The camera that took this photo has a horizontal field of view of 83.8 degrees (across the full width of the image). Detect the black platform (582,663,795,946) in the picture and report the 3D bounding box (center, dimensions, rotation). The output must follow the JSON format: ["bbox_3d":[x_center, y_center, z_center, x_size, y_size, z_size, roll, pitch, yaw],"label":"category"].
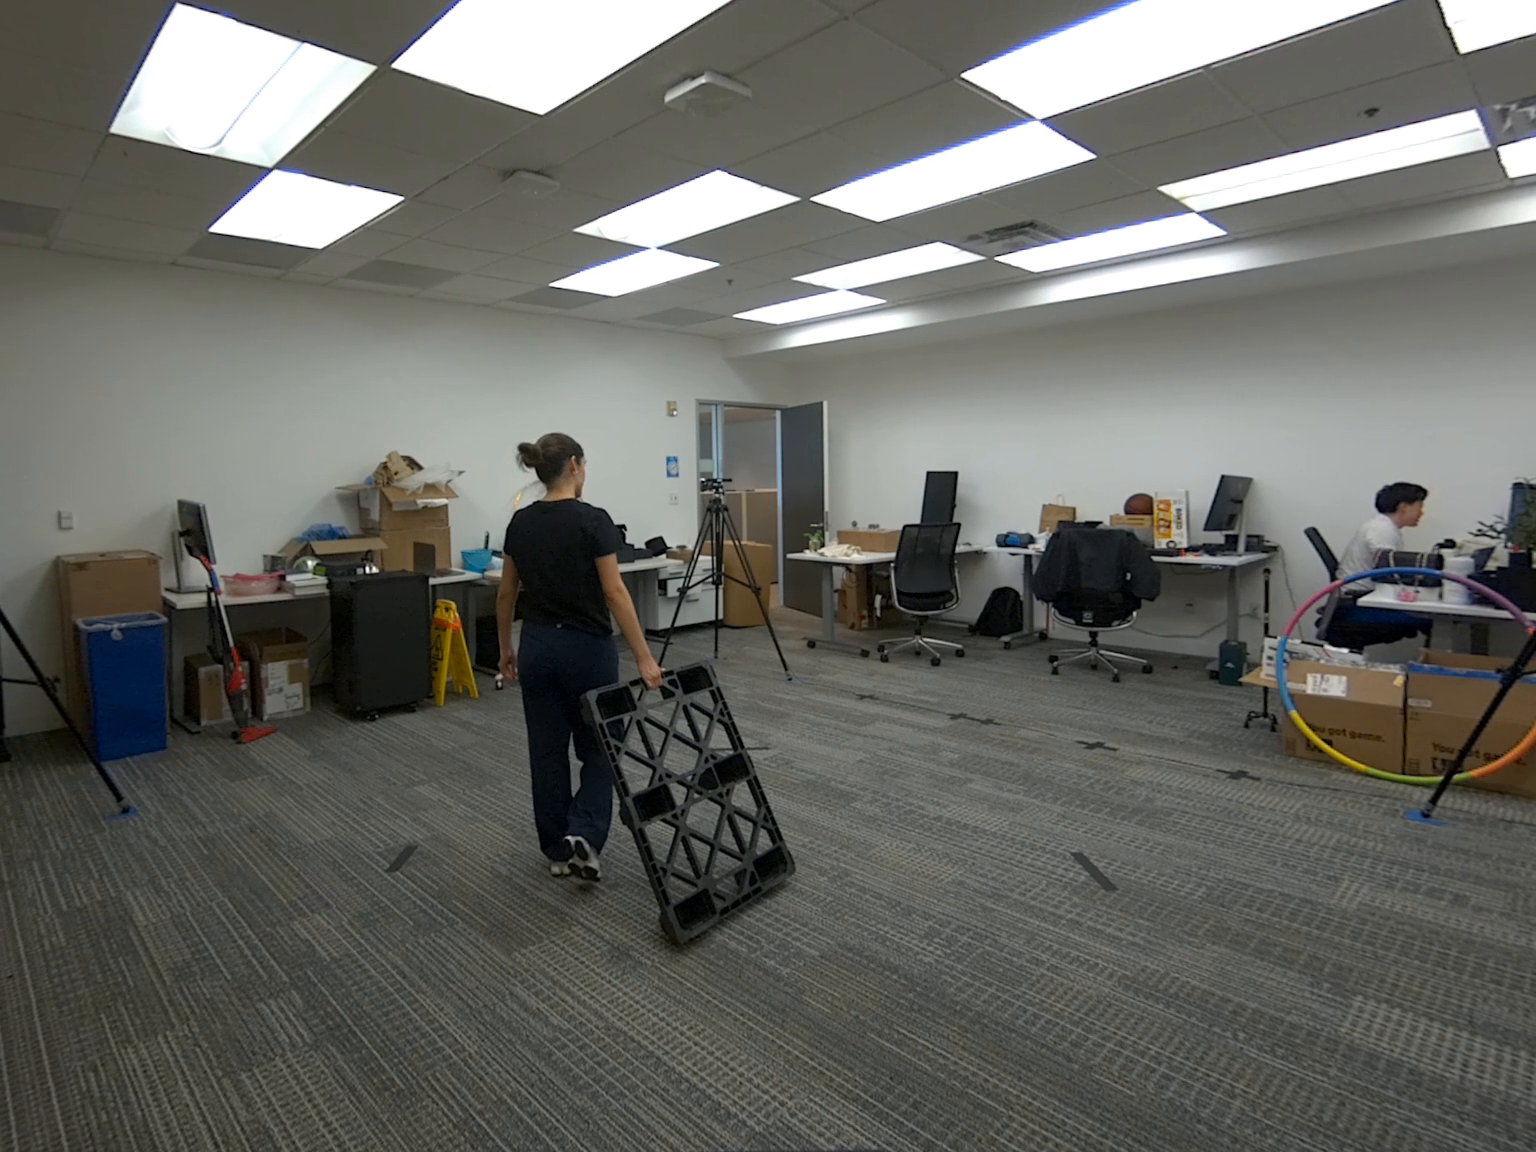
[{"bbox_3d":[-0.276,0.717,2.880,0.144,0.820,0.590,-35,-18,36],"label":"black platform"}]
